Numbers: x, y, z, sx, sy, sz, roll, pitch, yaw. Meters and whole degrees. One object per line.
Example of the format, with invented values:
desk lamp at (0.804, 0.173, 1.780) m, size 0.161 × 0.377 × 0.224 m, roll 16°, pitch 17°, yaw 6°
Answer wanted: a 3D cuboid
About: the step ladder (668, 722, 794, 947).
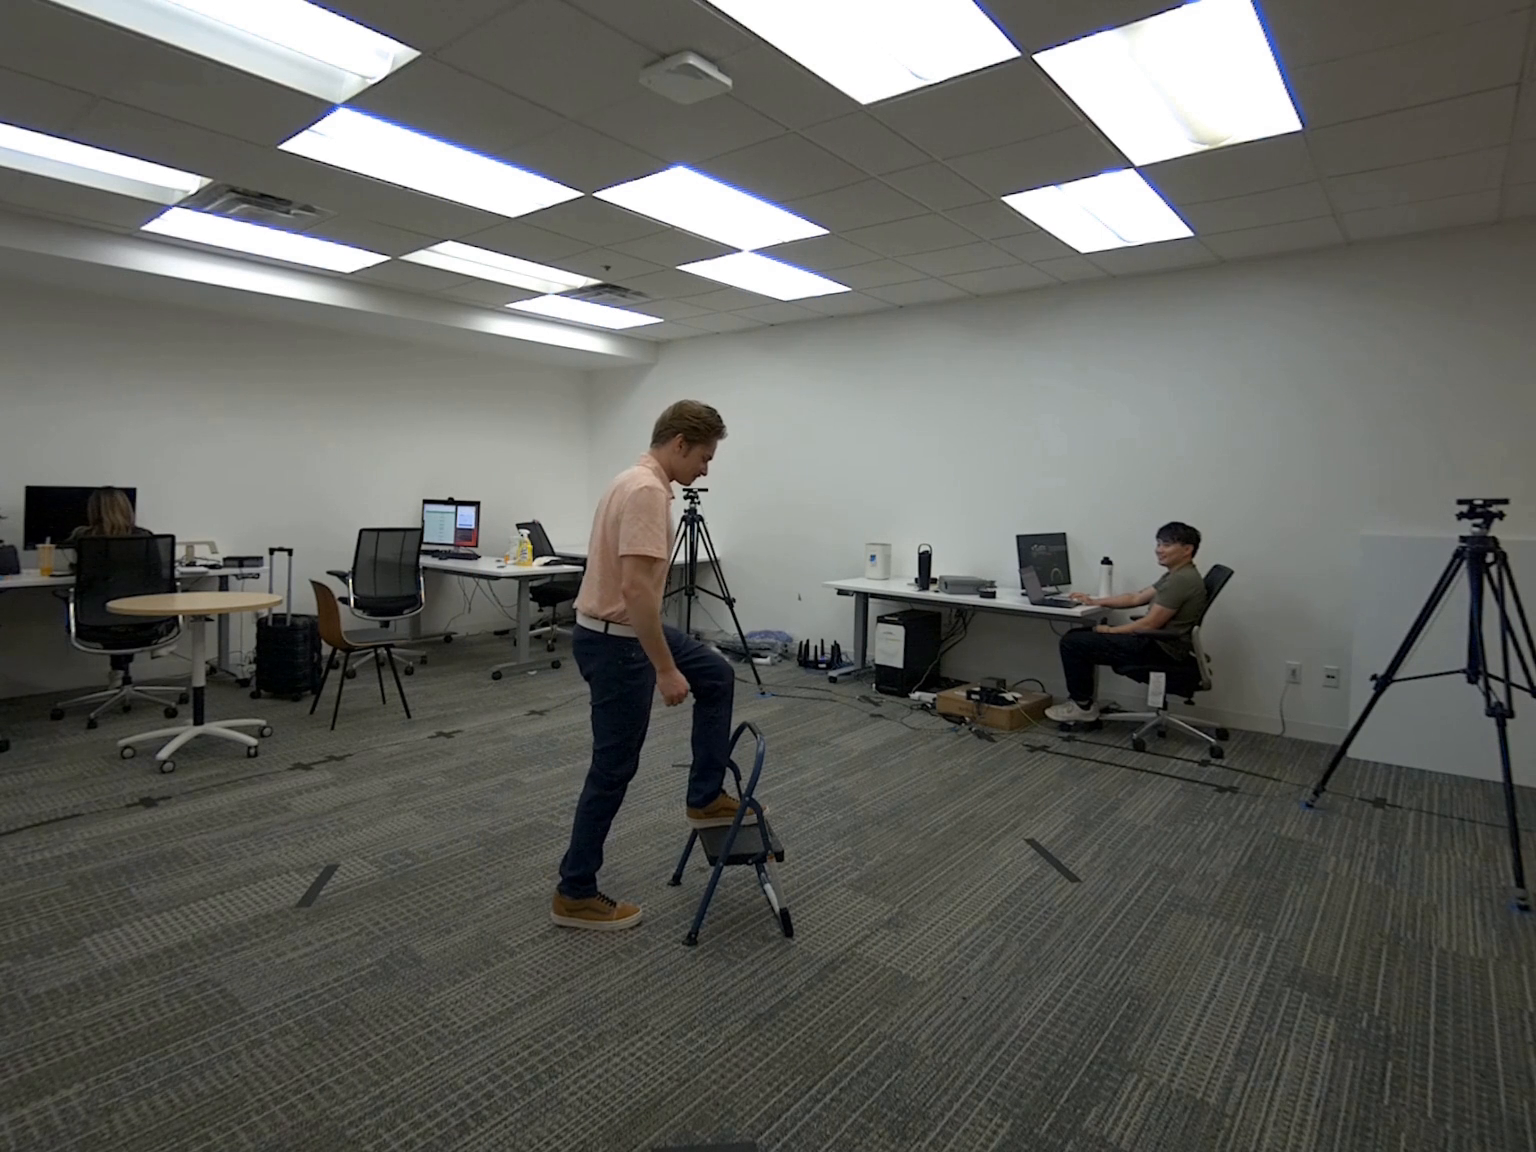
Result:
step ladder at (-0.133, 0.802, 2.803) m, size 0.345 × 0.604 × 0.437 m, roll 0°, pitch 4°, yaw -12°
